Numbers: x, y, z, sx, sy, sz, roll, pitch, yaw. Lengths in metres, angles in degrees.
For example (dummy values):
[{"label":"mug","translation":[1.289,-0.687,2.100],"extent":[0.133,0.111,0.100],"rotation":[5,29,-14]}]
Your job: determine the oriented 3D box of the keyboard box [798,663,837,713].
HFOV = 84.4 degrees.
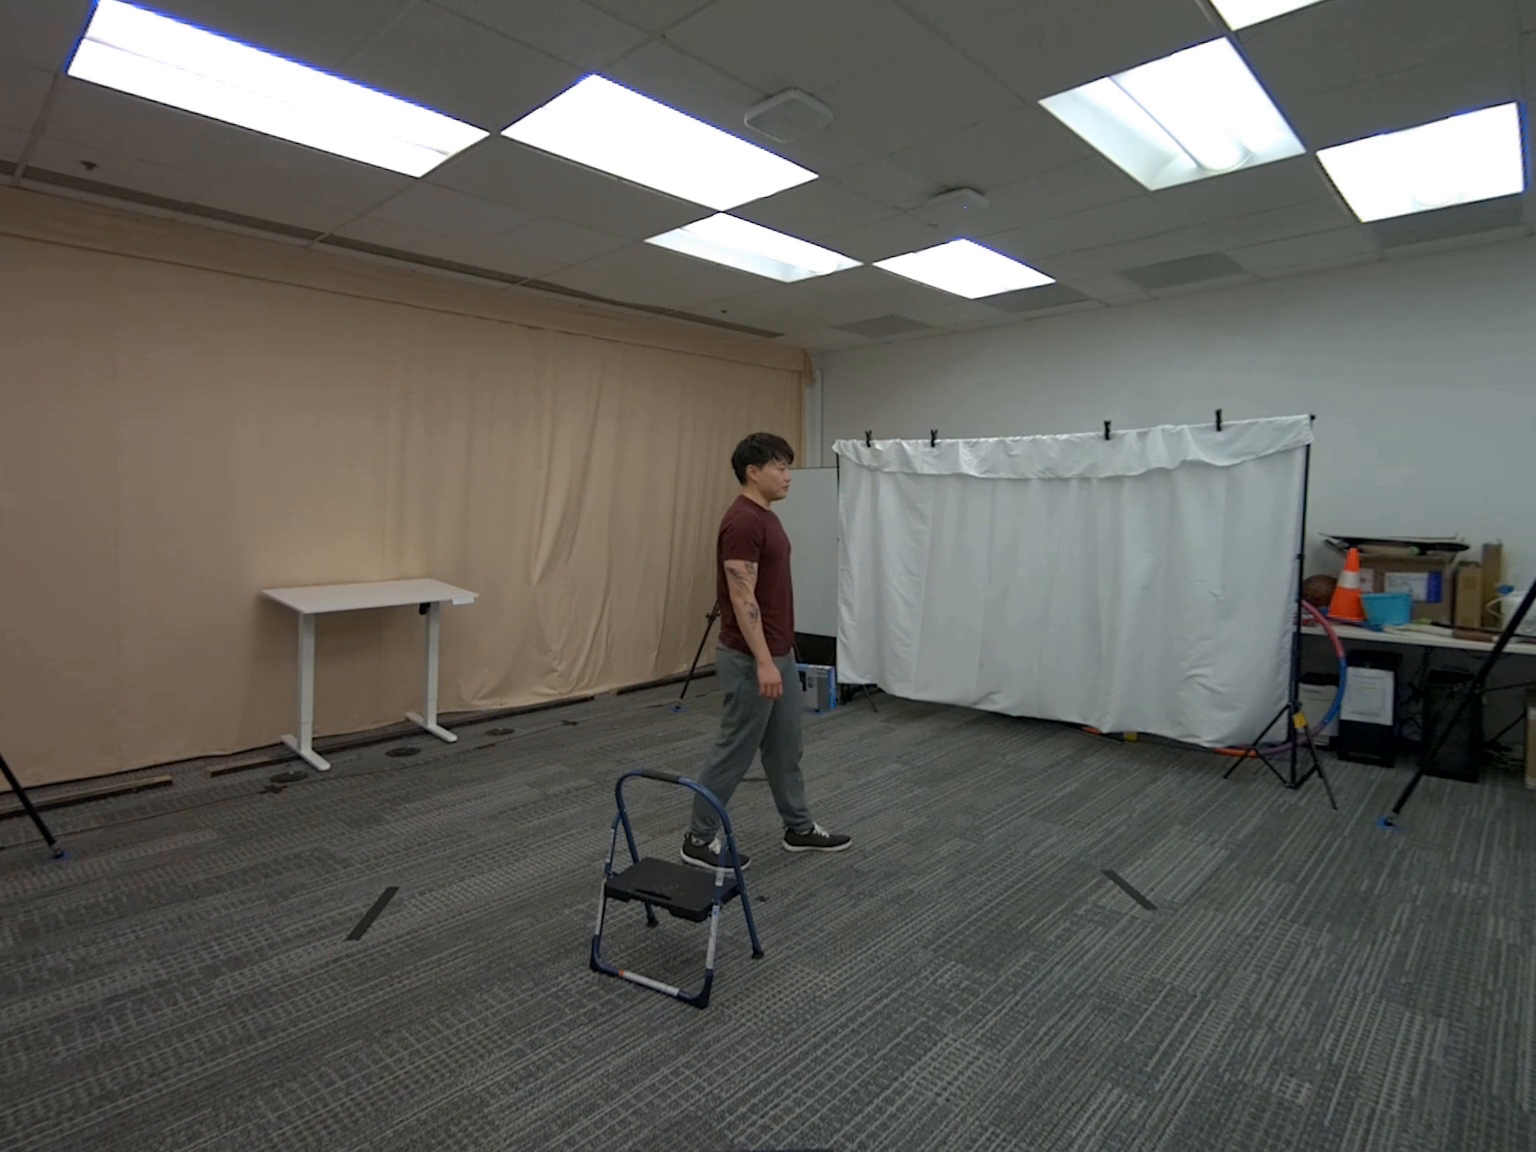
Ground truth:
[{"label":"keyboard box","translation":[0.071,0.452,3.548],"extent":[0.448,0.175,0.058],"rotation":[2,5,27]}]
